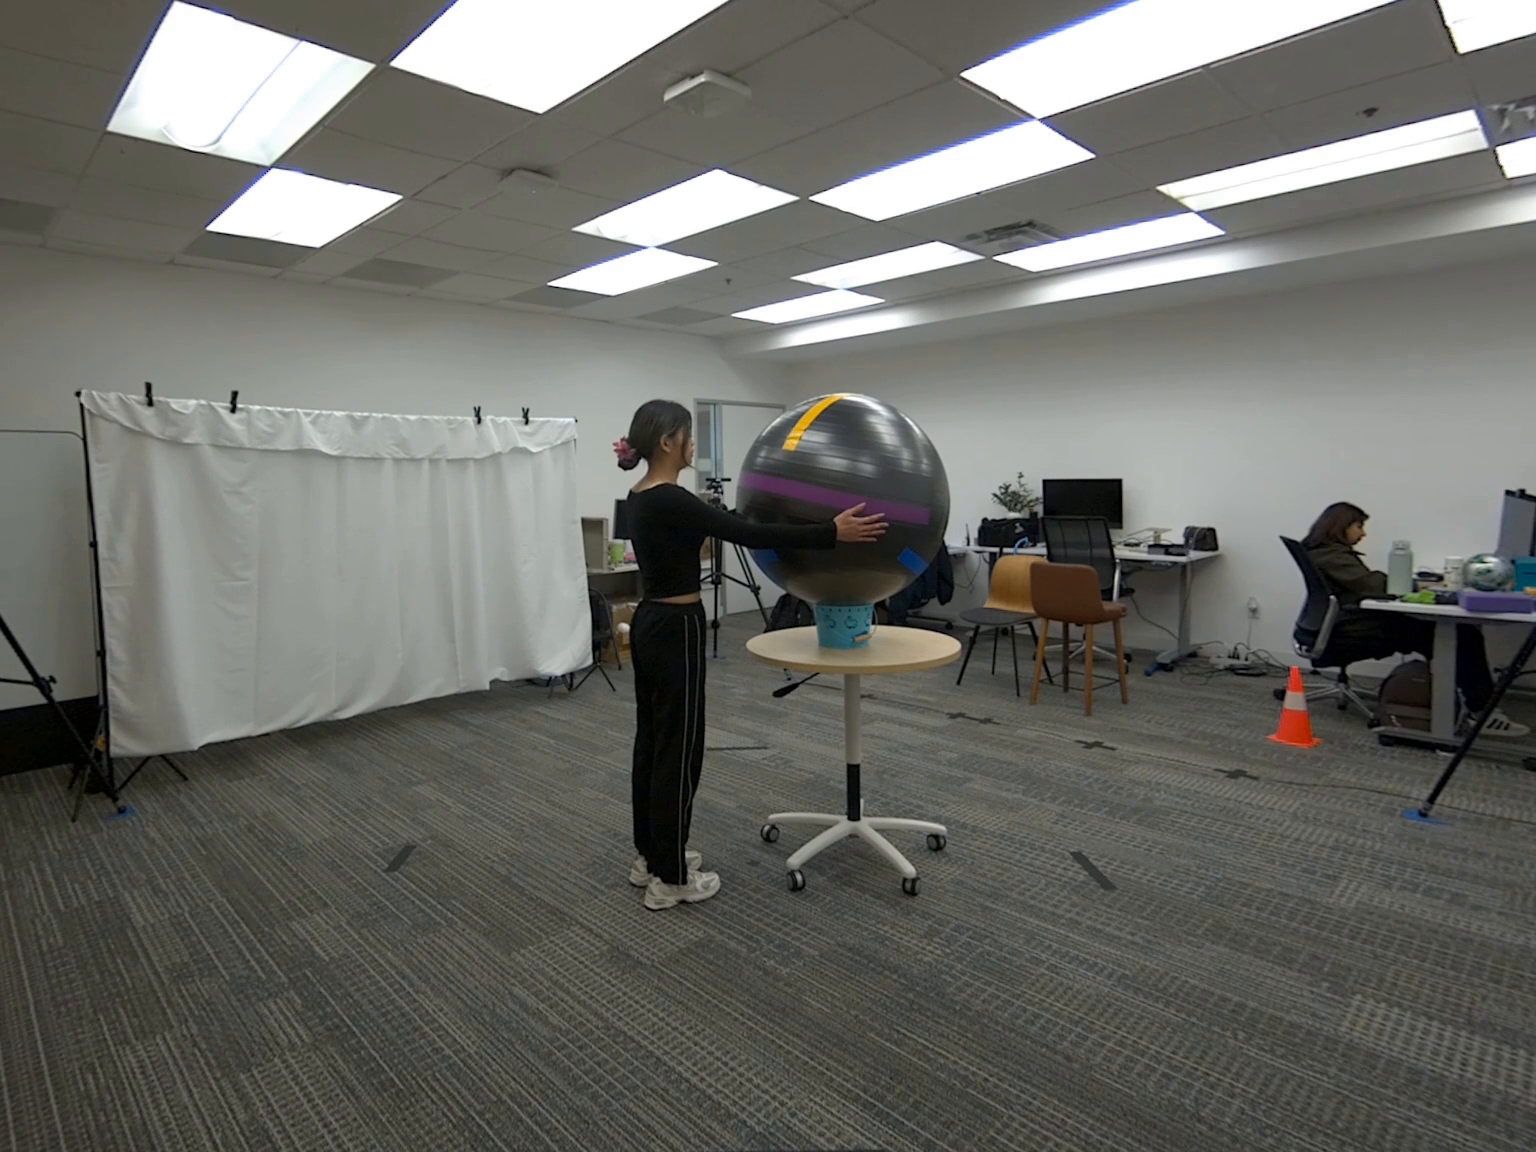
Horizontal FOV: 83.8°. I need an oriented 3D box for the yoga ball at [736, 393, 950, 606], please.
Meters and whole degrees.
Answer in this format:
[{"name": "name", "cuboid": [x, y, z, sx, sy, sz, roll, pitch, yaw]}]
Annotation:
[{"name": "yoga ball", "cuboid": [0.275, -0.259, 3.056, 0.757, 0.755, 0.762, -1, 5, -2]}]
